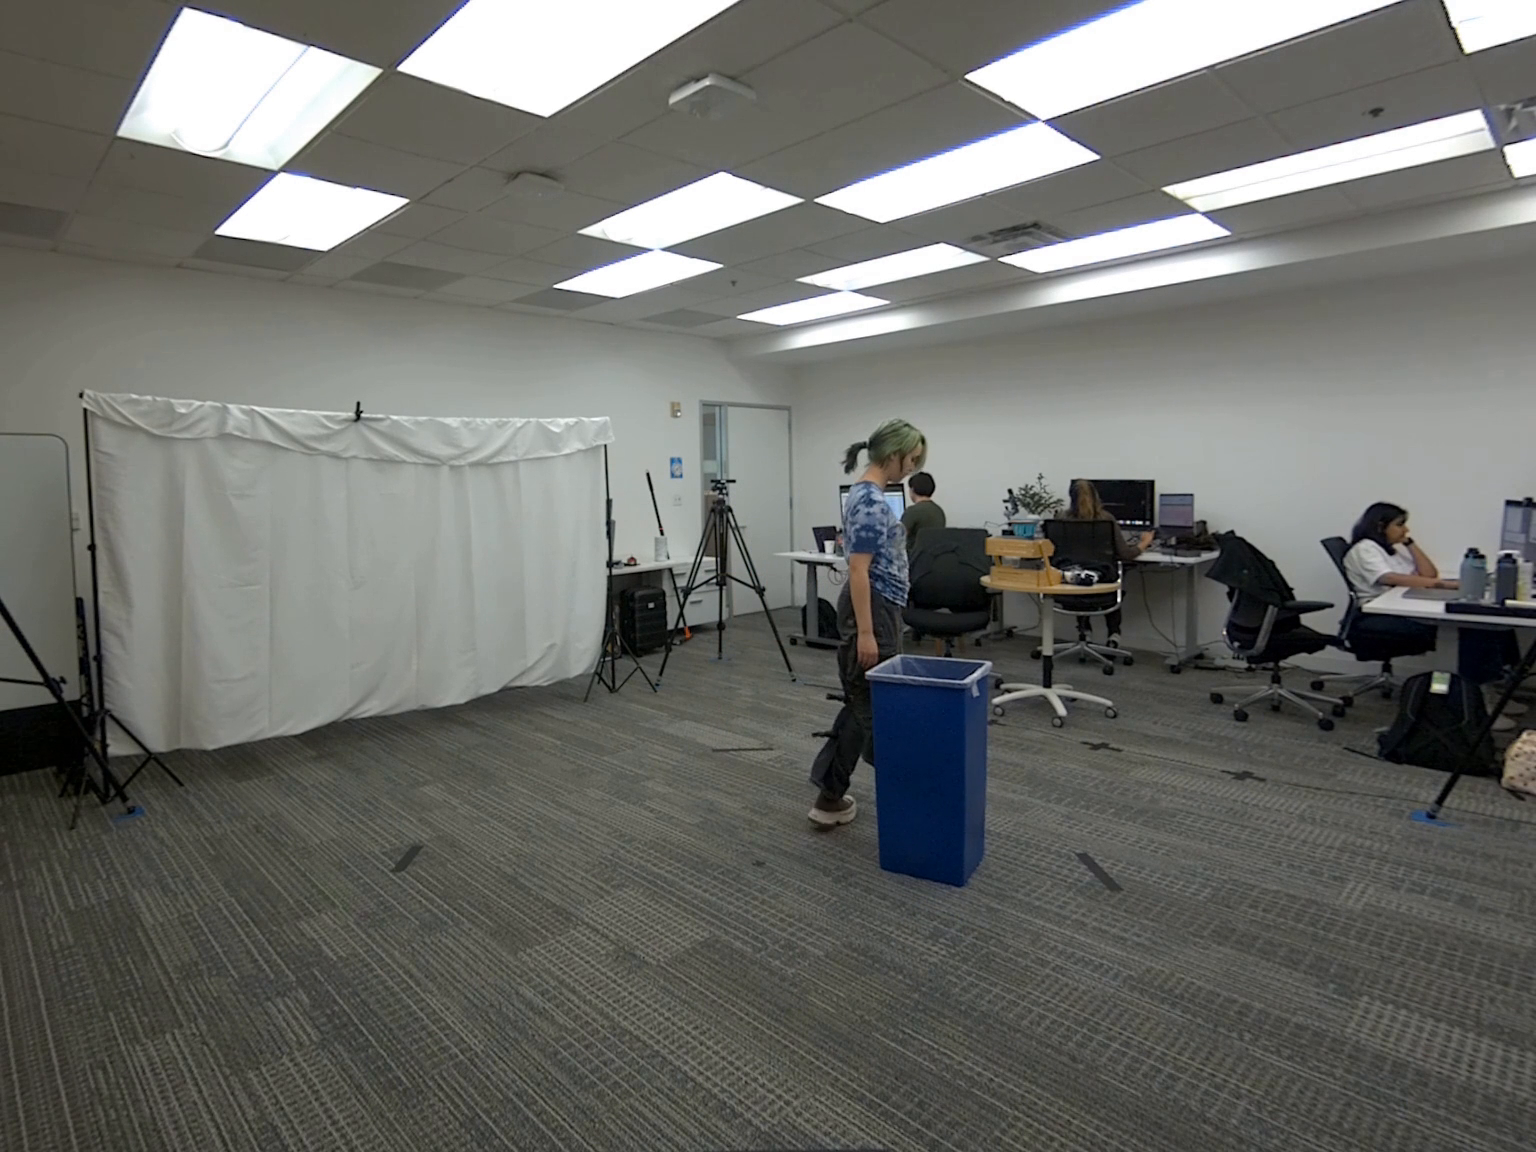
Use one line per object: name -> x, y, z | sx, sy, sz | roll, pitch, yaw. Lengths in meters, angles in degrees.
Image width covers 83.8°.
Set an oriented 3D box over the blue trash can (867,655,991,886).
blue trash can -> 0.587, 0.683, 3.079 | 0.383, 0.711, 0.370 | 1, 4, 29
